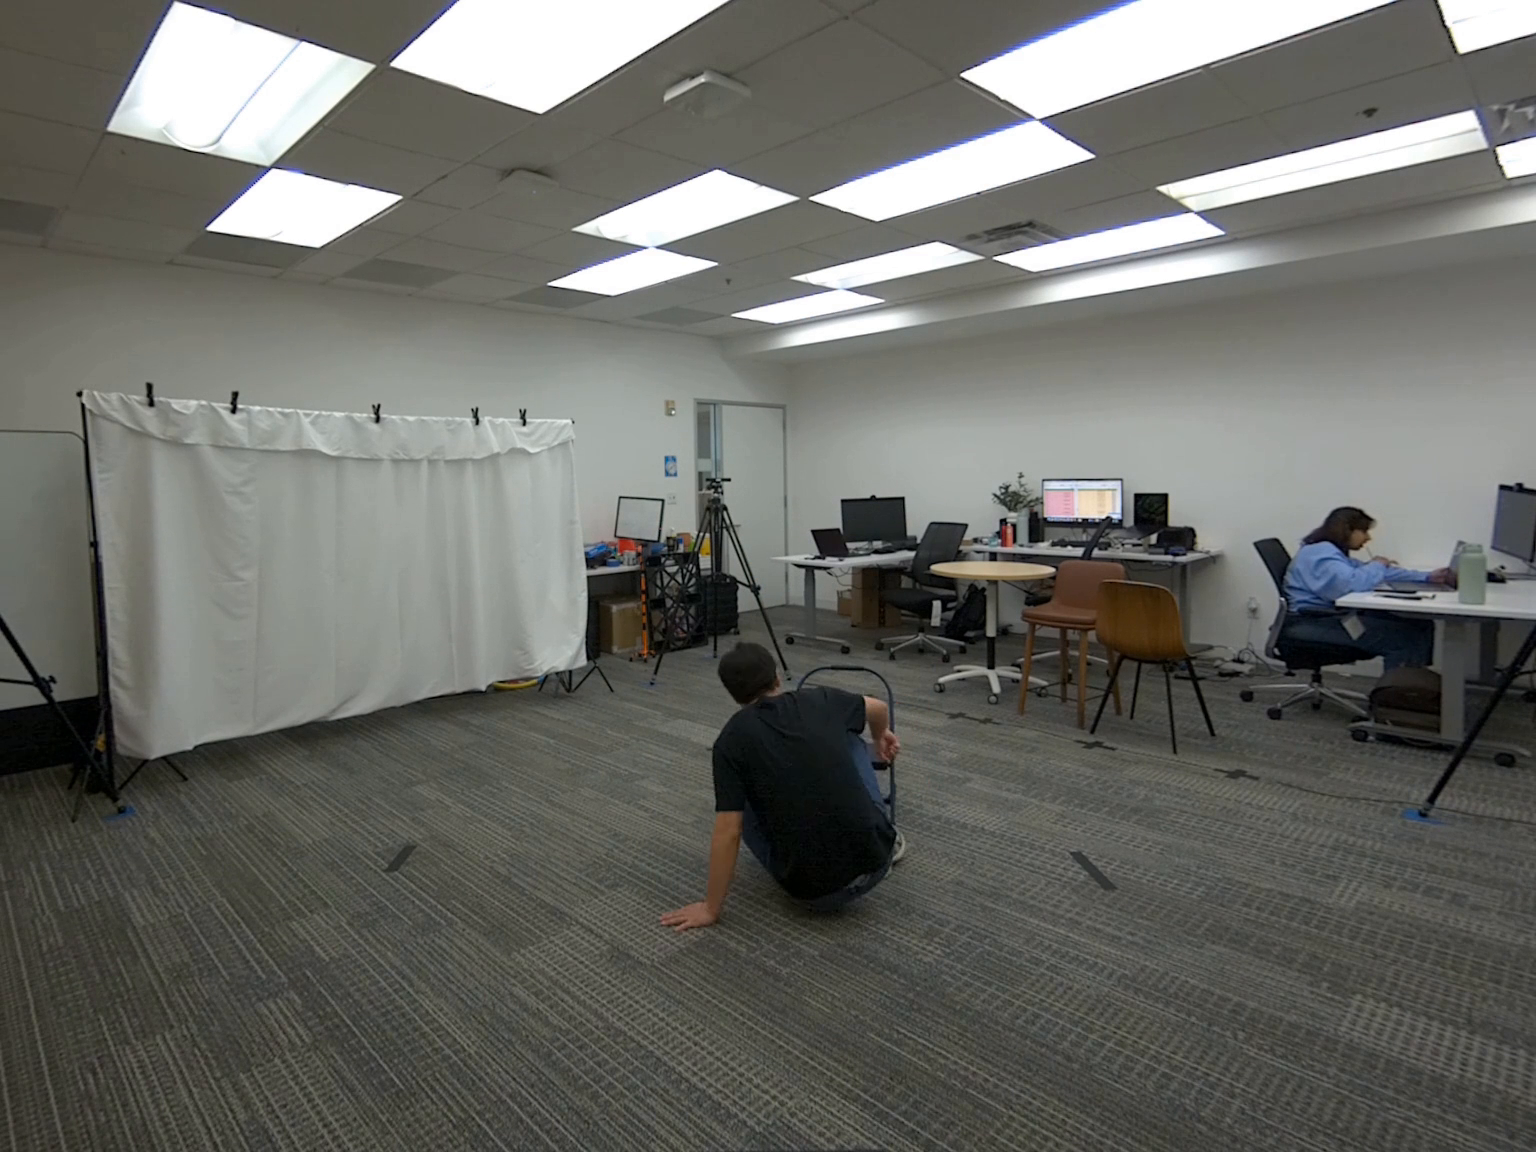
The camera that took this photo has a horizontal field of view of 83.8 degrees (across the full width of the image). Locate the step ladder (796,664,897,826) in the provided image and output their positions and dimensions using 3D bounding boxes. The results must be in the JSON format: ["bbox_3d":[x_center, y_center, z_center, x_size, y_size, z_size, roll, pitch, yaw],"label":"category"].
[{"bbox_3d":[0.318,0.687,3.527,0.435,0.604,0.347,0,4,10],"label":"step ladder"}]
